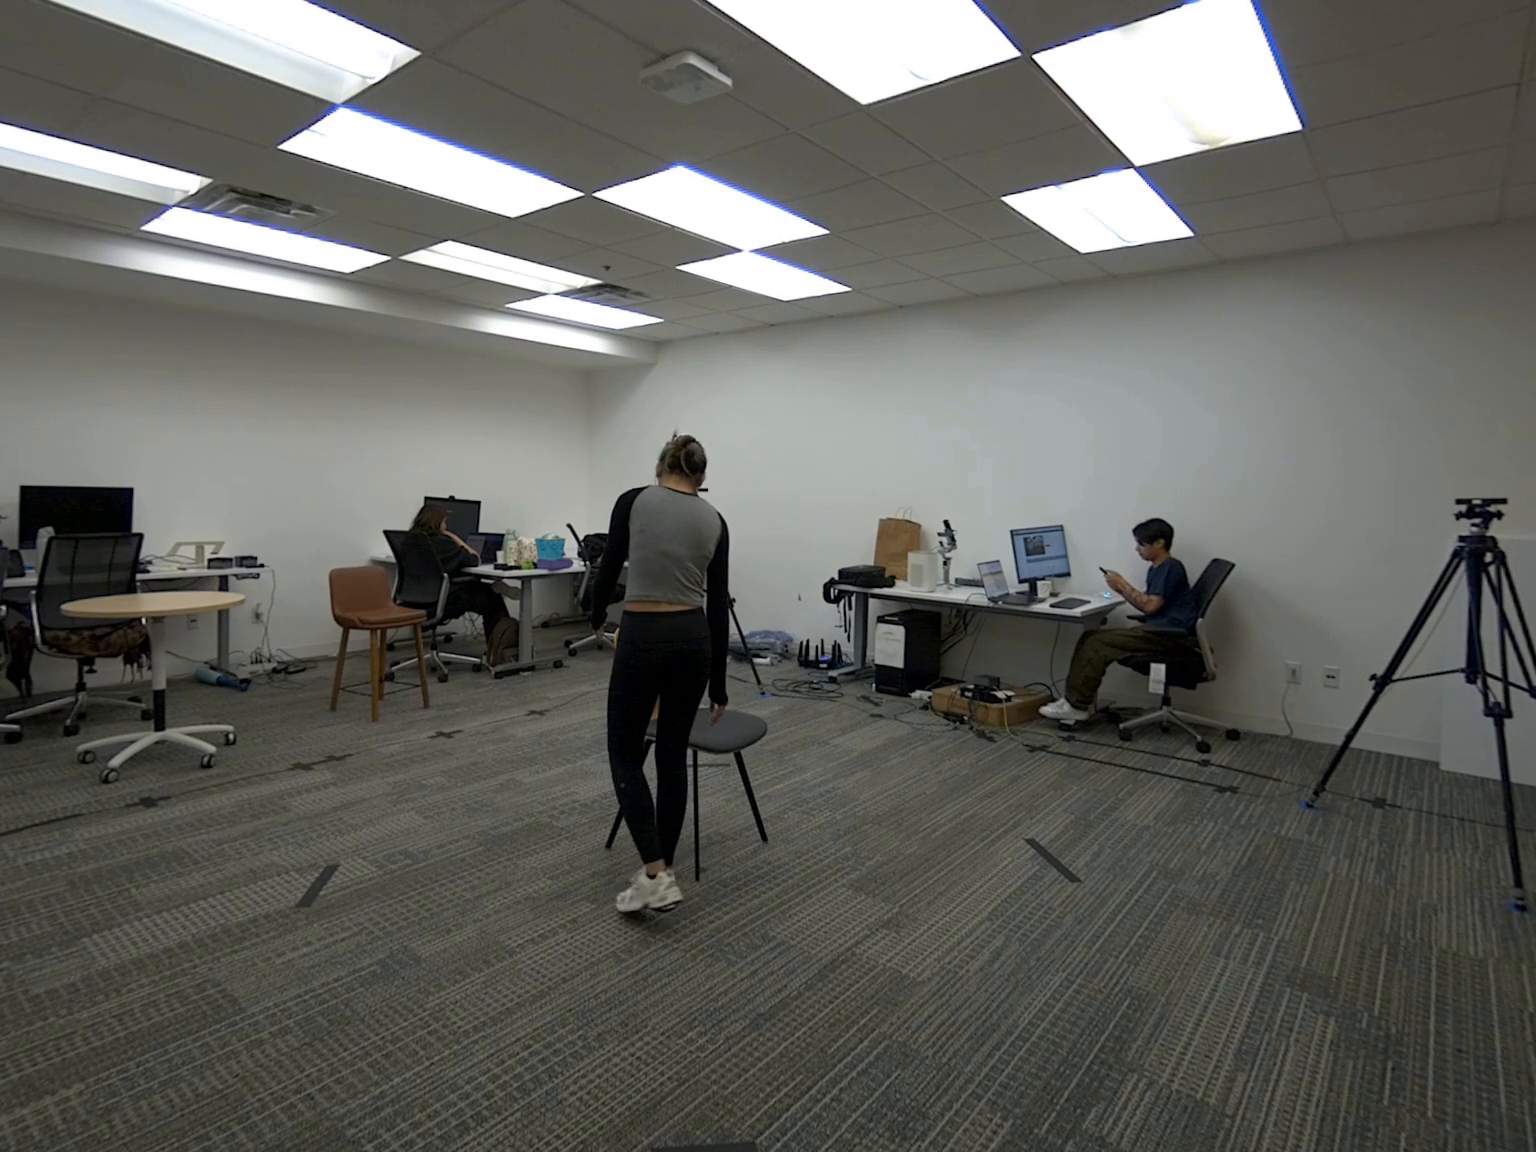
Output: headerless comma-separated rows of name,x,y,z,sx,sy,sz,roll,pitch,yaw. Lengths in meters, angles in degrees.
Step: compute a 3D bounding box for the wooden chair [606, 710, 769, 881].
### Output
wooden chair,-0.305,0.621,3.293,0.538,0.877,0.464,-2,0,35
